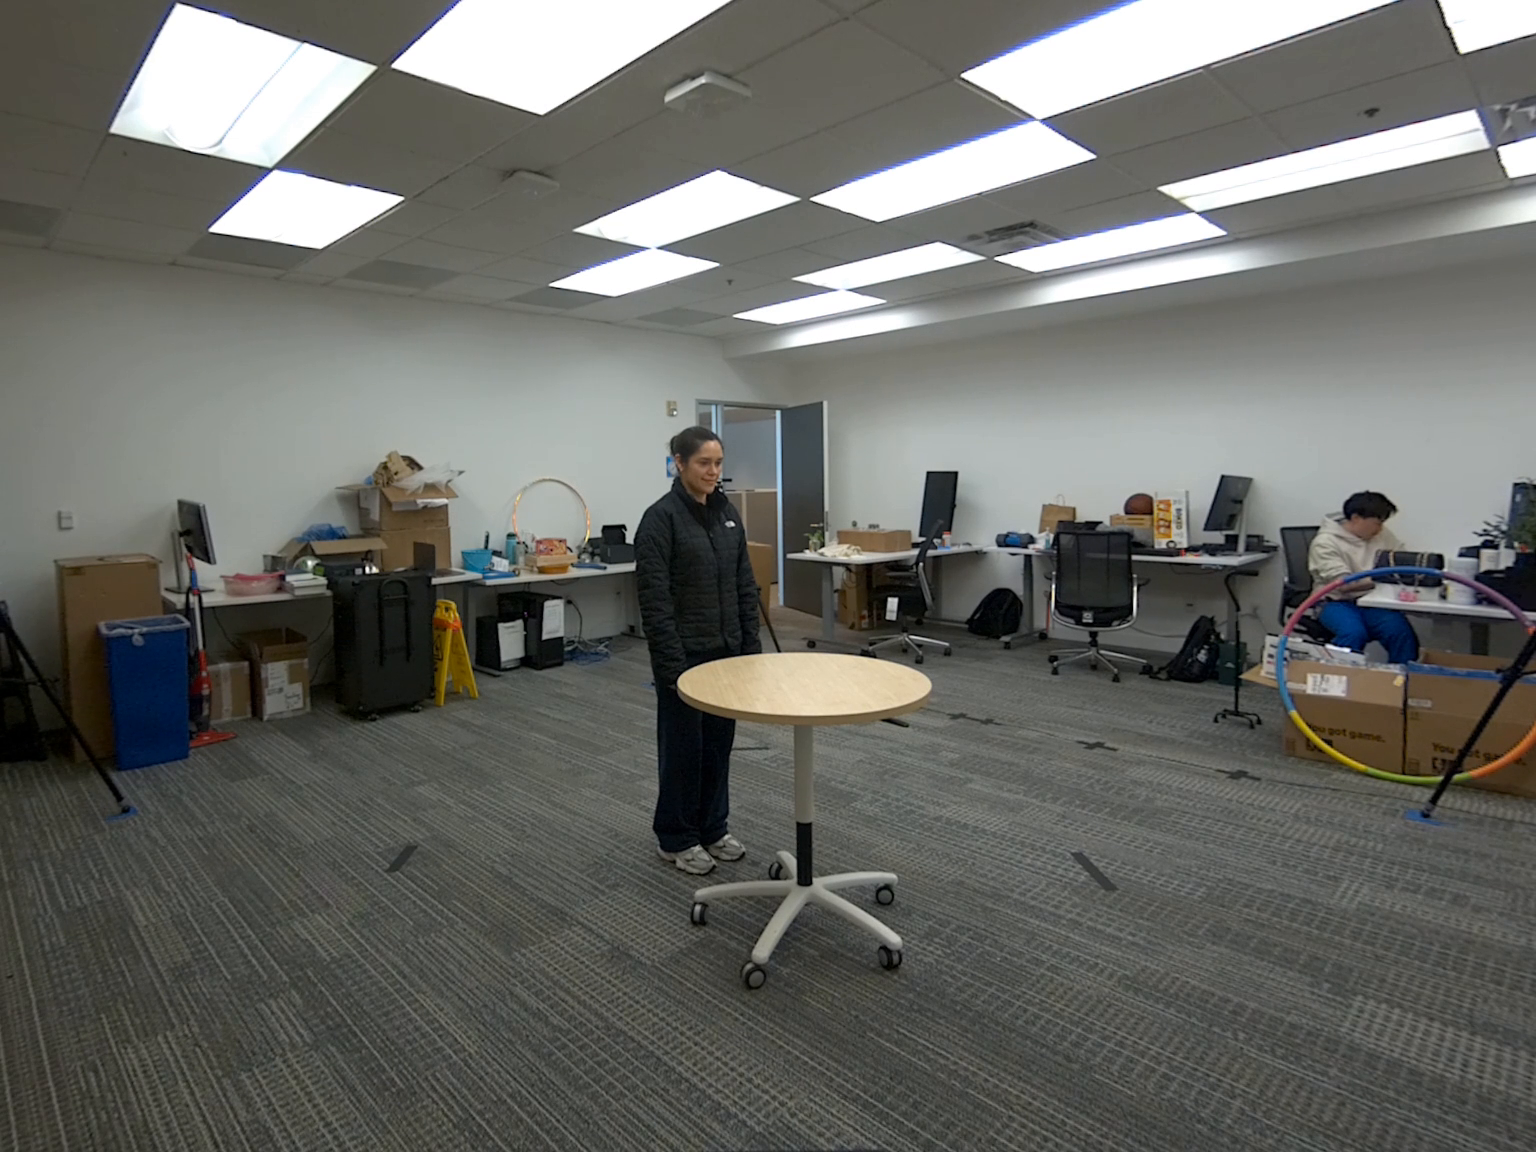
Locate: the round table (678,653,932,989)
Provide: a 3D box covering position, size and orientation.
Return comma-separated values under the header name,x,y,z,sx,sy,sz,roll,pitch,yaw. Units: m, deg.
name,x,y,z,sx,sy,sz,roll,pitch,yaw
round table,0.114,0.701,2.656,0.784,0.783,0.790,-1,6,-2
